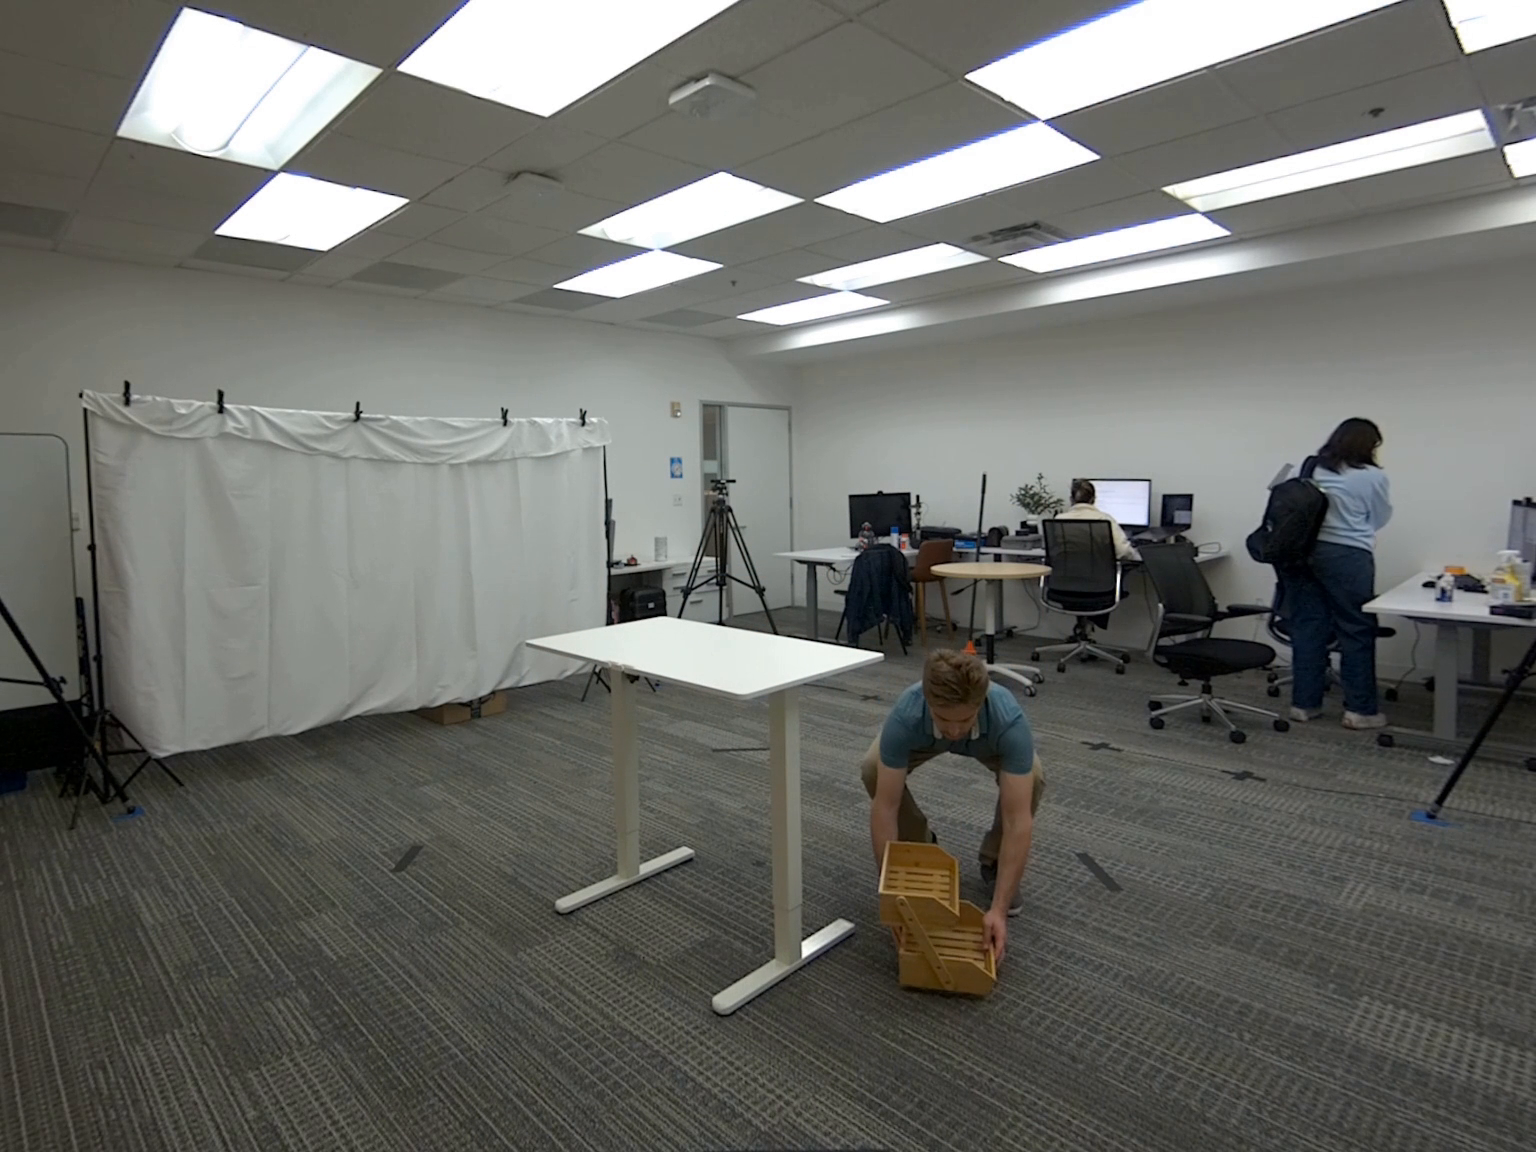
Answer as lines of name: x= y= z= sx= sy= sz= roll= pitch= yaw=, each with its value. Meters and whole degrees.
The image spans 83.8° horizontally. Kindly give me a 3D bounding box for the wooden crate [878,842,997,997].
wooden crate: x=0.501 y=0.958 z=2.413 sx=0.306 sy=0.271 sz=0.323 roll=-2 pitch=8 yaw=13
